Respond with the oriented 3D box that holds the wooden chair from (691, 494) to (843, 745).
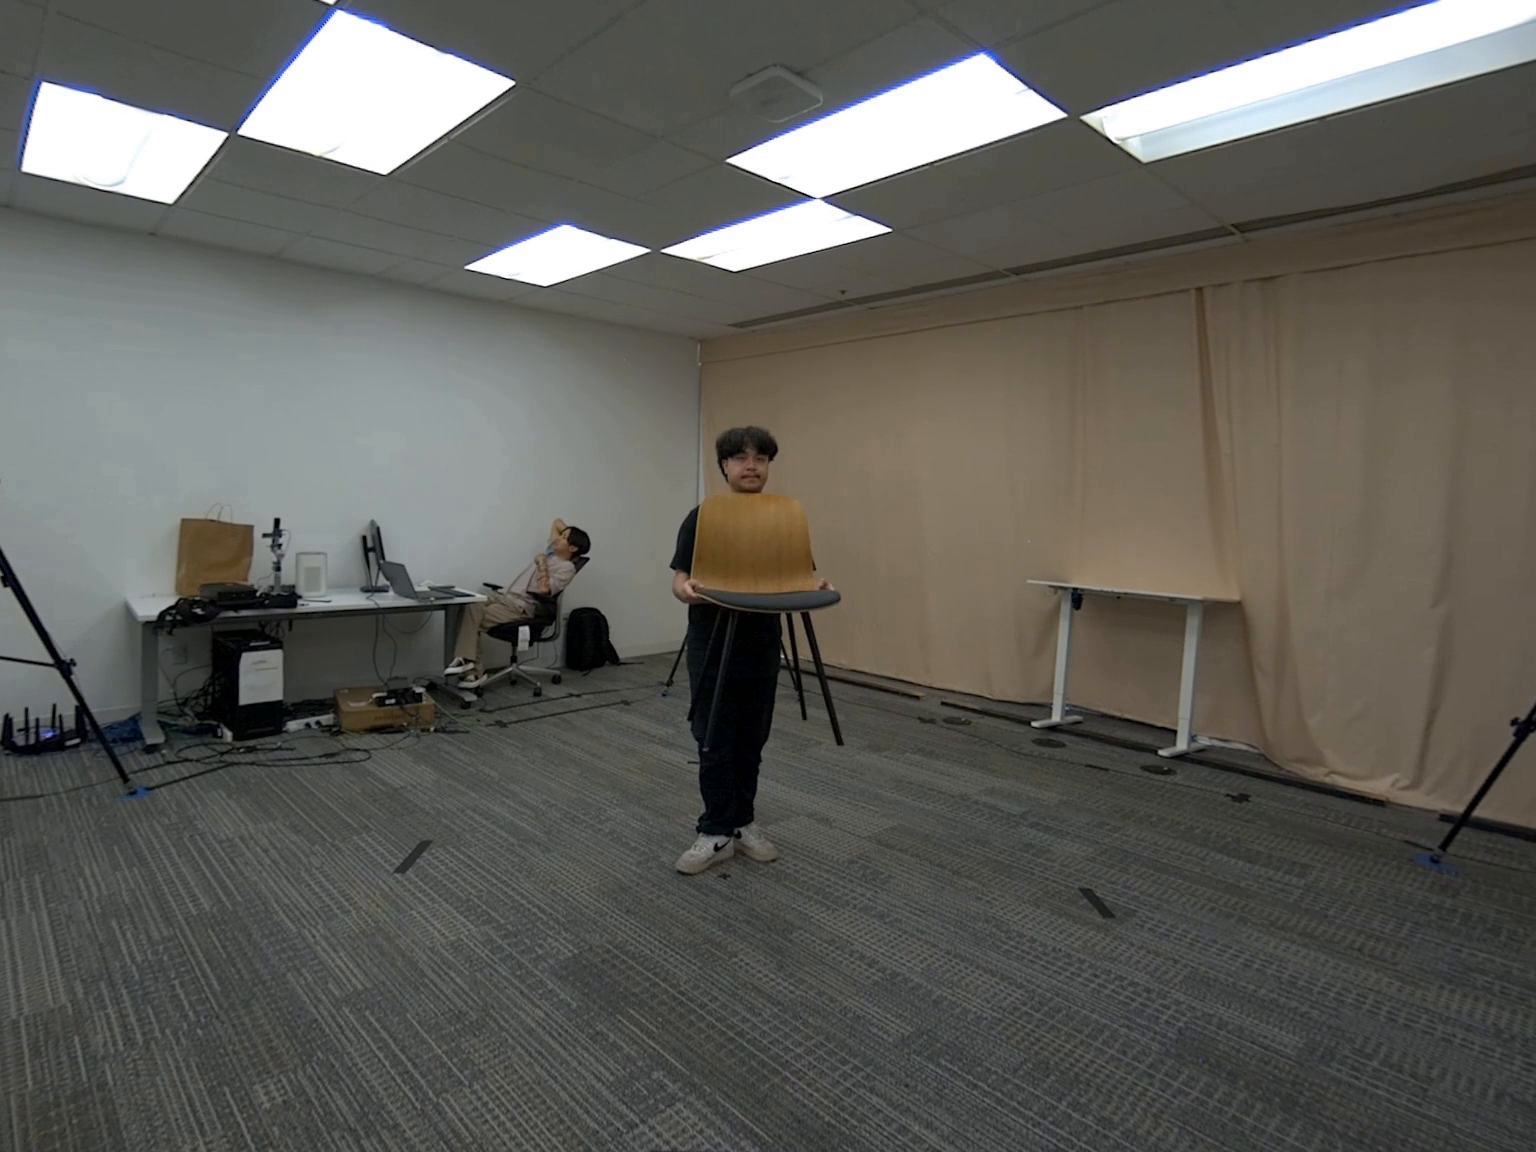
[{"bbox_3d":[-0.009,0.118,2.873,0.474,0.880,0.526,2,-5,-11],"label":"wooden chair"}]
